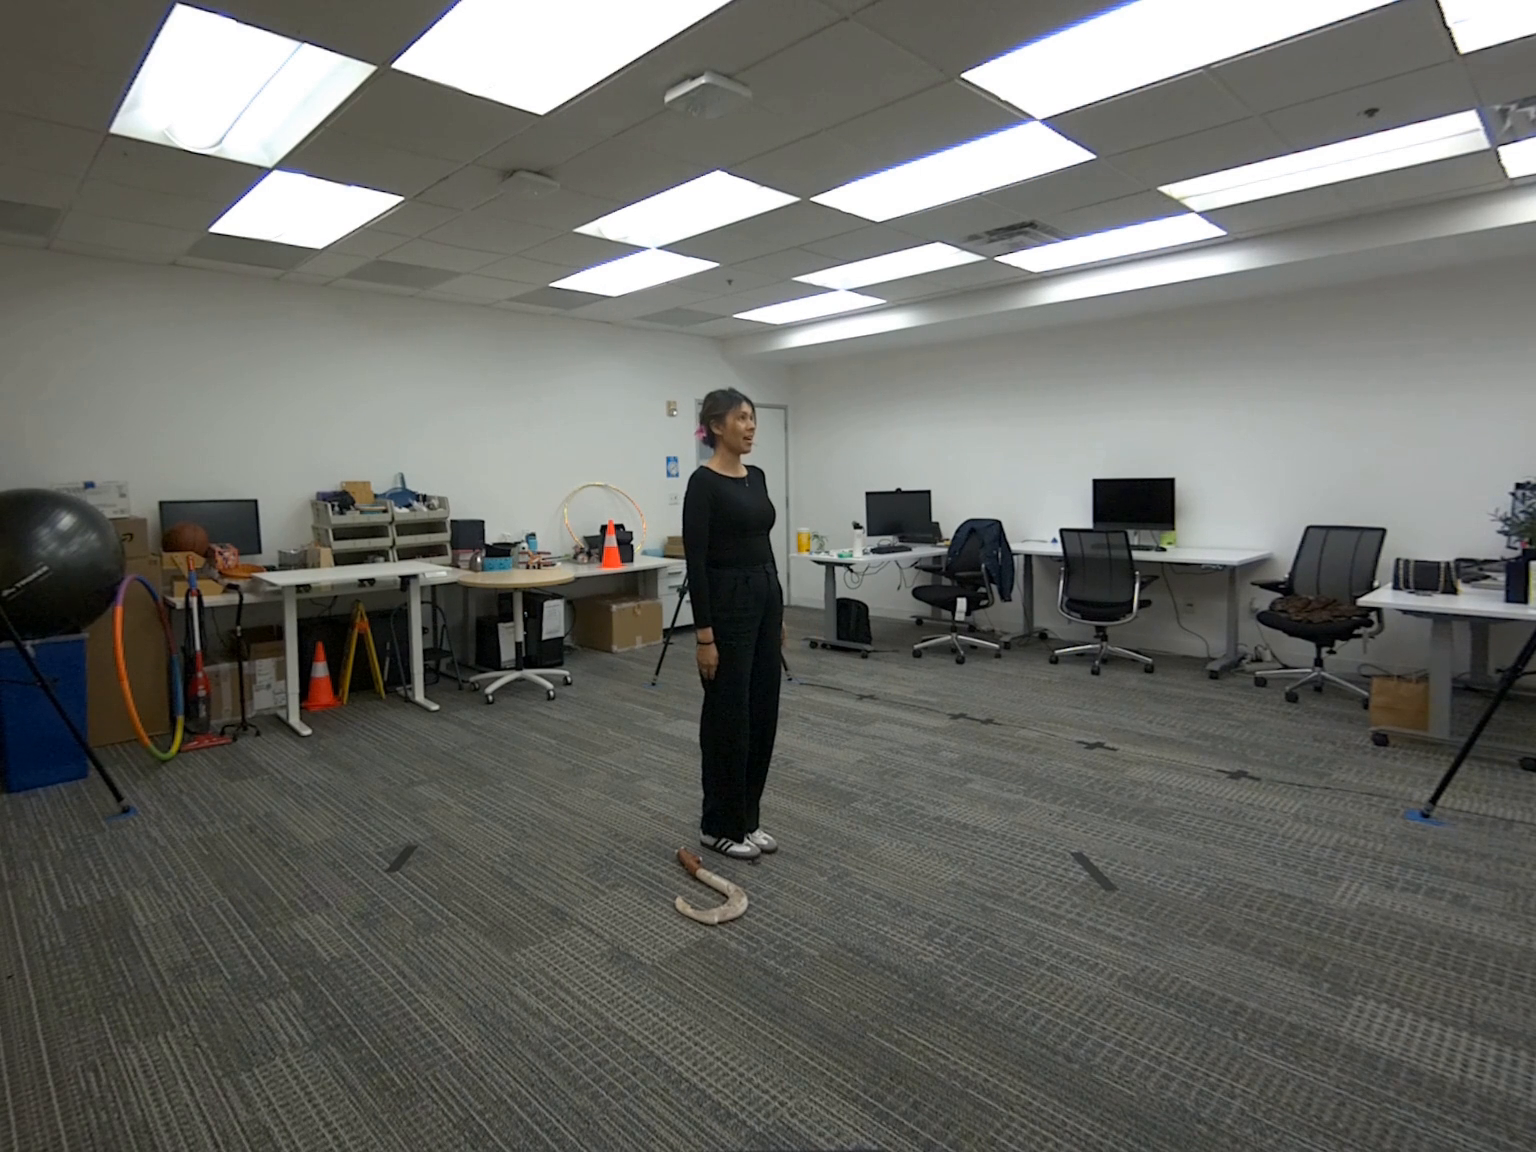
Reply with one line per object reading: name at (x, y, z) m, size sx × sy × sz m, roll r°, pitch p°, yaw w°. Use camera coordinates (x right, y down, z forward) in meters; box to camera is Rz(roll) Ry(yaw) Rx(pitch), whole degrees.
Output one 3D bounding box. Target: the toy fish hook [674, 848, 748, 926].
toy fish hook at (-0.251, 1.053, 2.913) m, size 0.220 × 0.048 × 0.520 m, roll -4°, pitch 7°, yaw -27°
